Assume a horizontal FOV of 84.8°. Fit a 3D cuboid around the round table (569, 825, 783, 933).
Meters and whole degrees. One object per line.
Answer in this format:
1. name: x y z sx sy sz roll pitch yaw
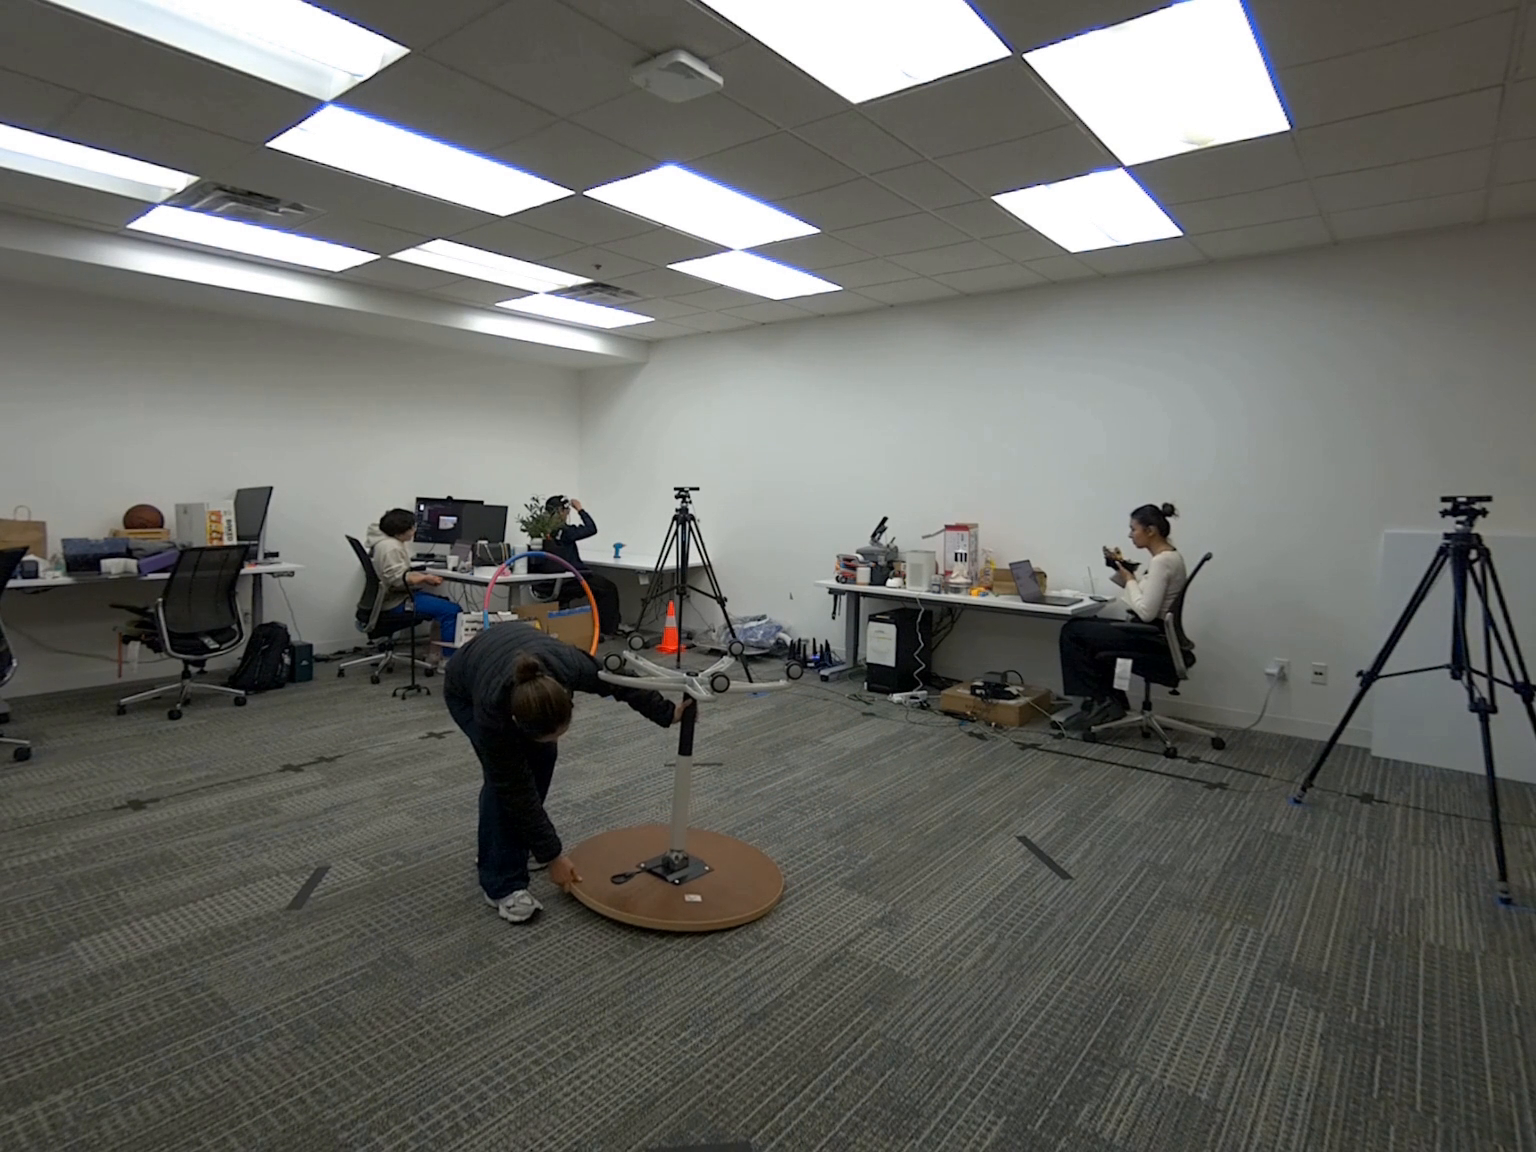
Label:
1. round table: -0.288 0.652 2.986 0.784 0.785 0.787 4 2 -2
